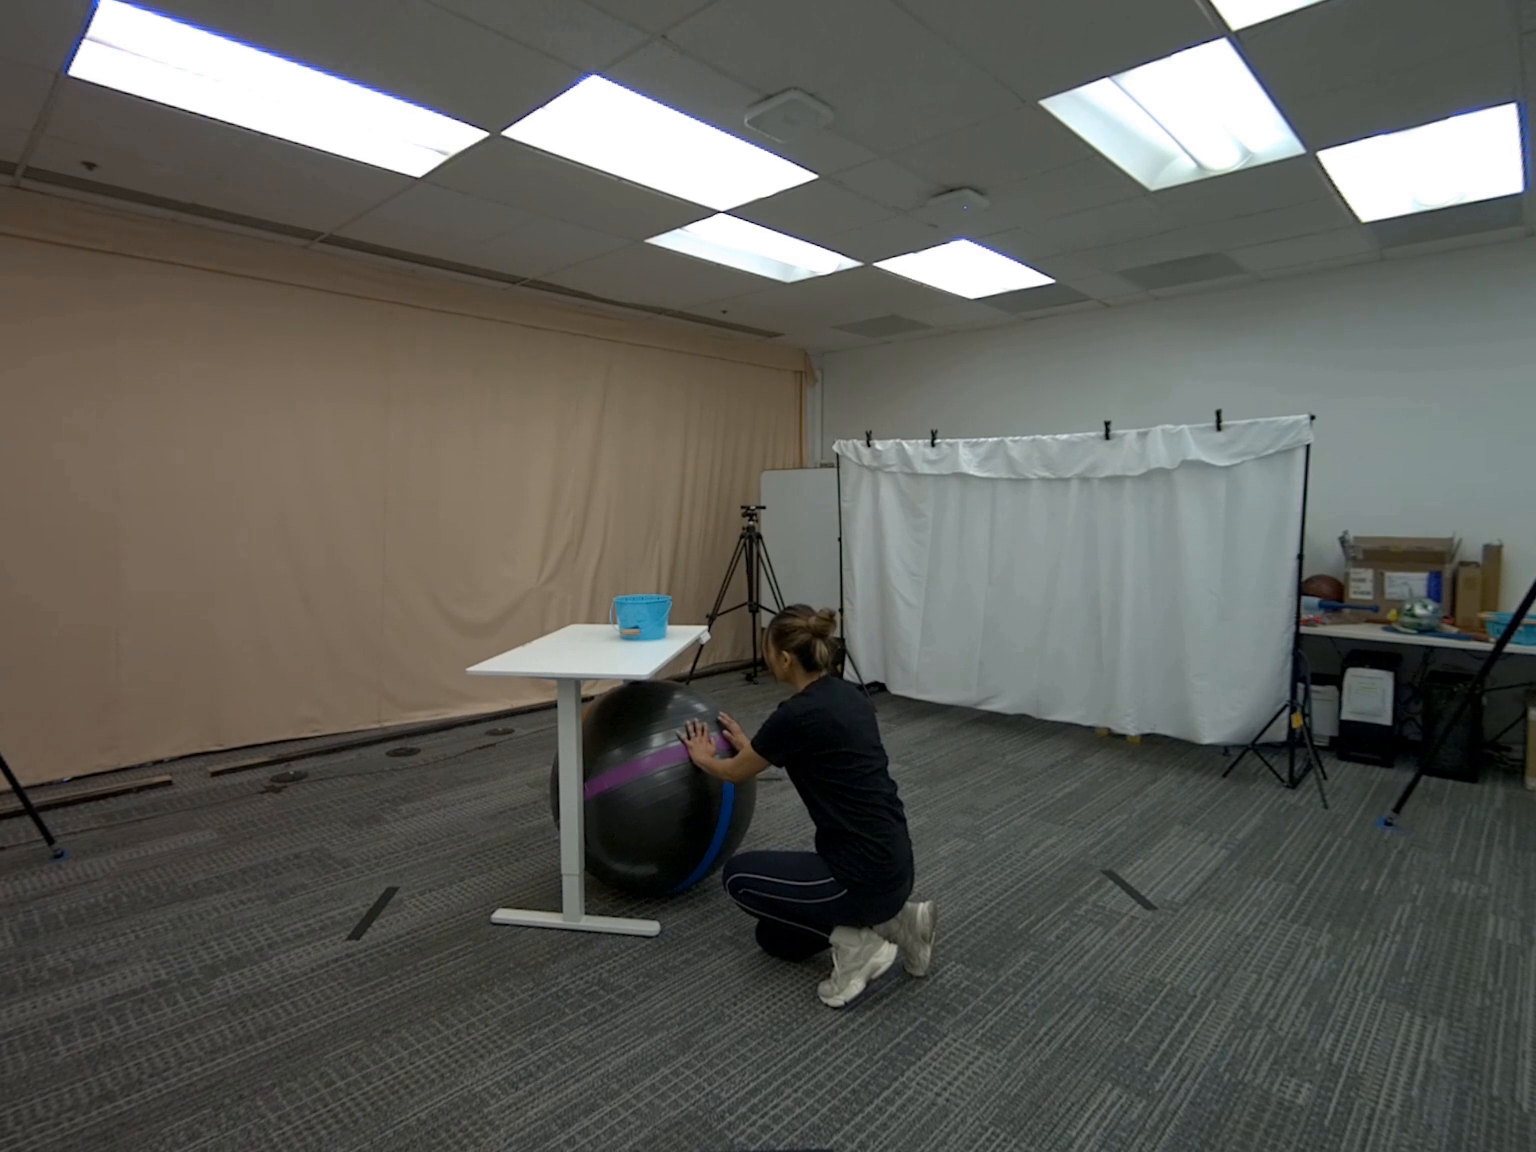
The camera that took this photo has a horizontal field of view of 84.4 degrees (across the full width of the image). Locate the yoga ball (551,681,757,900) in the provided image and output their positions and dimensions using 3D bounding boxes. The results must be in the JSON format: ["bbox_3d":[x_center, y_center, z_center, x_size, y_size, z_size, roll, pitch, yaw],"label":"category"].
[{"bbox_3d":[-0.425,0.785,3.104,0.757,0.756,0.761,0,4,-2],"label":"yoga ball"}]
